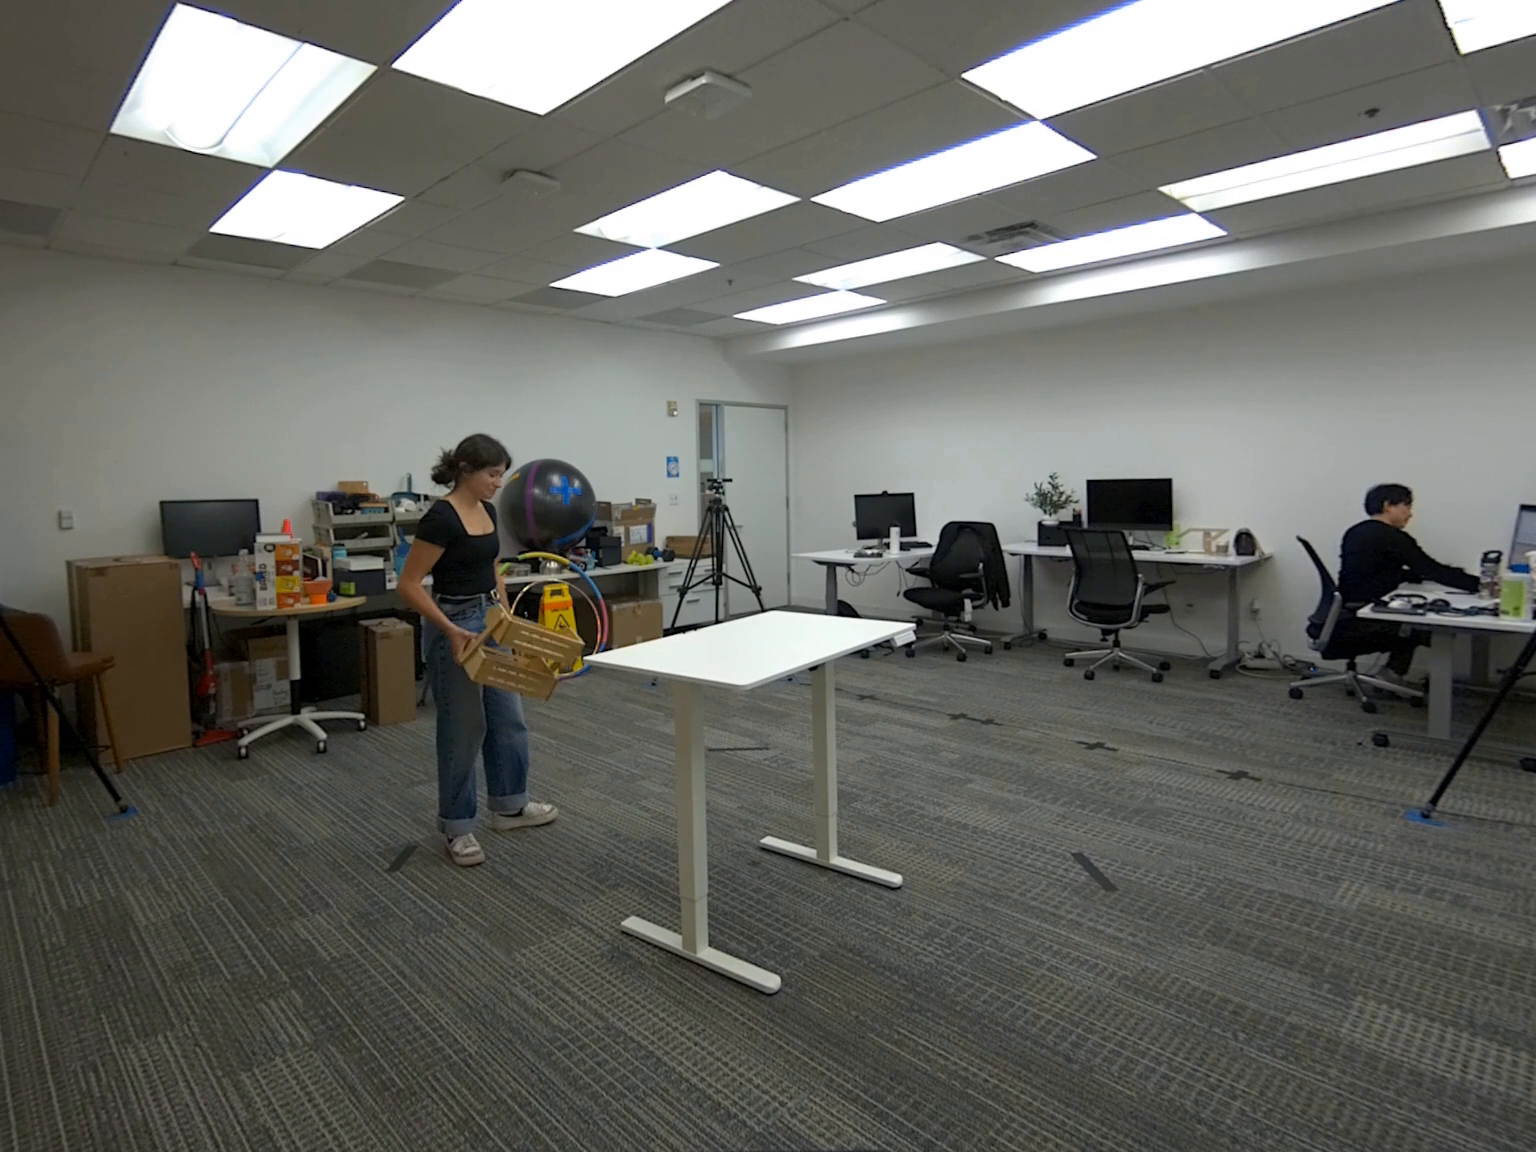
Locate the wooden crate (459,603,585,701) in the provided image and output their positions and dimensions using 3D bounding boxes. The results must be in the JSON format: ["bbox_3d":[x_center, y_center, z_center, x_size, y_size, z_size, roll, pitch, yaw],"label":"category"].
[{"bbox_3d":[-0.893,0.251,3.065,0.313,0.273,0.313,24,6,-37],"label":"wooden crate"}]
